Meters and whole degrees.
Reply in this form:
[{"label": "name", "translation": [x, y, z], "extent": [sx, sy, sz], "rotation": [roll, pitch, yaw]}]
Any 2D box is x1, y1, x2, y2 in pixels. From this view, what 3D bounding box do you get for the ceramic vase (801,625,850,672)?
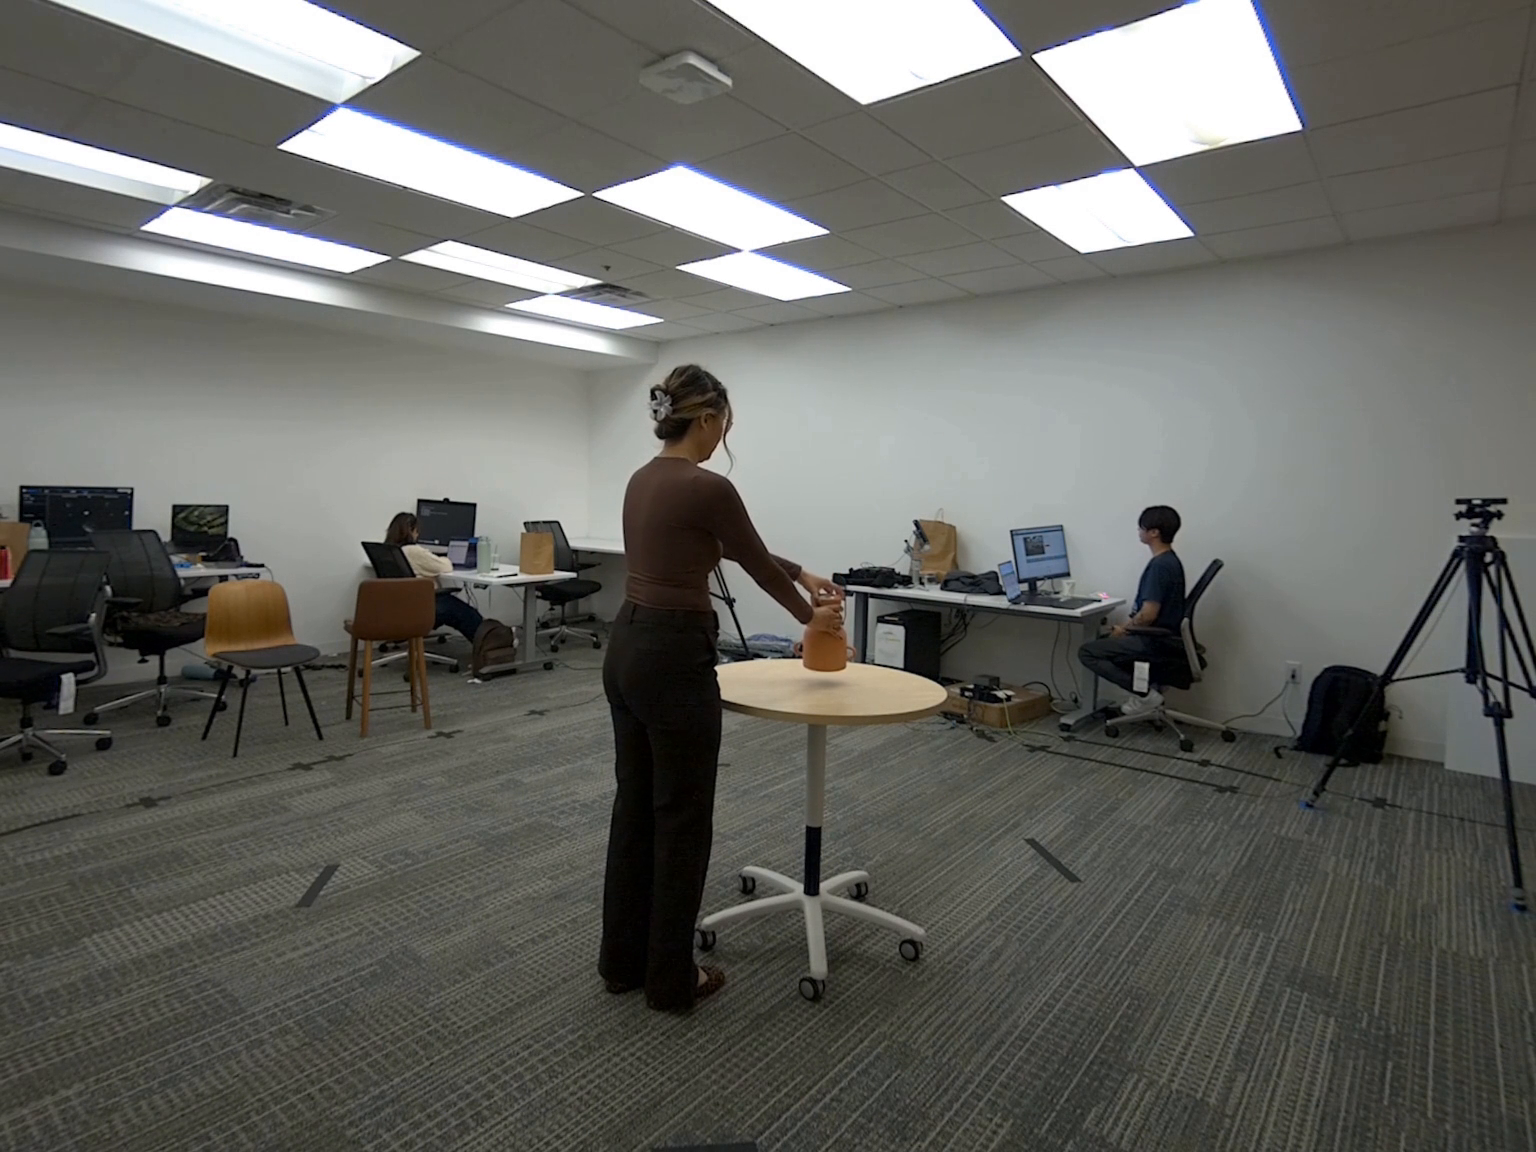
[{"label": "ceramic vase", "translation": [0.169, 0.169, 2.614], "extent": [0.155, 0.218, 0.138], "rotation": [-3, 8, -22]}]
